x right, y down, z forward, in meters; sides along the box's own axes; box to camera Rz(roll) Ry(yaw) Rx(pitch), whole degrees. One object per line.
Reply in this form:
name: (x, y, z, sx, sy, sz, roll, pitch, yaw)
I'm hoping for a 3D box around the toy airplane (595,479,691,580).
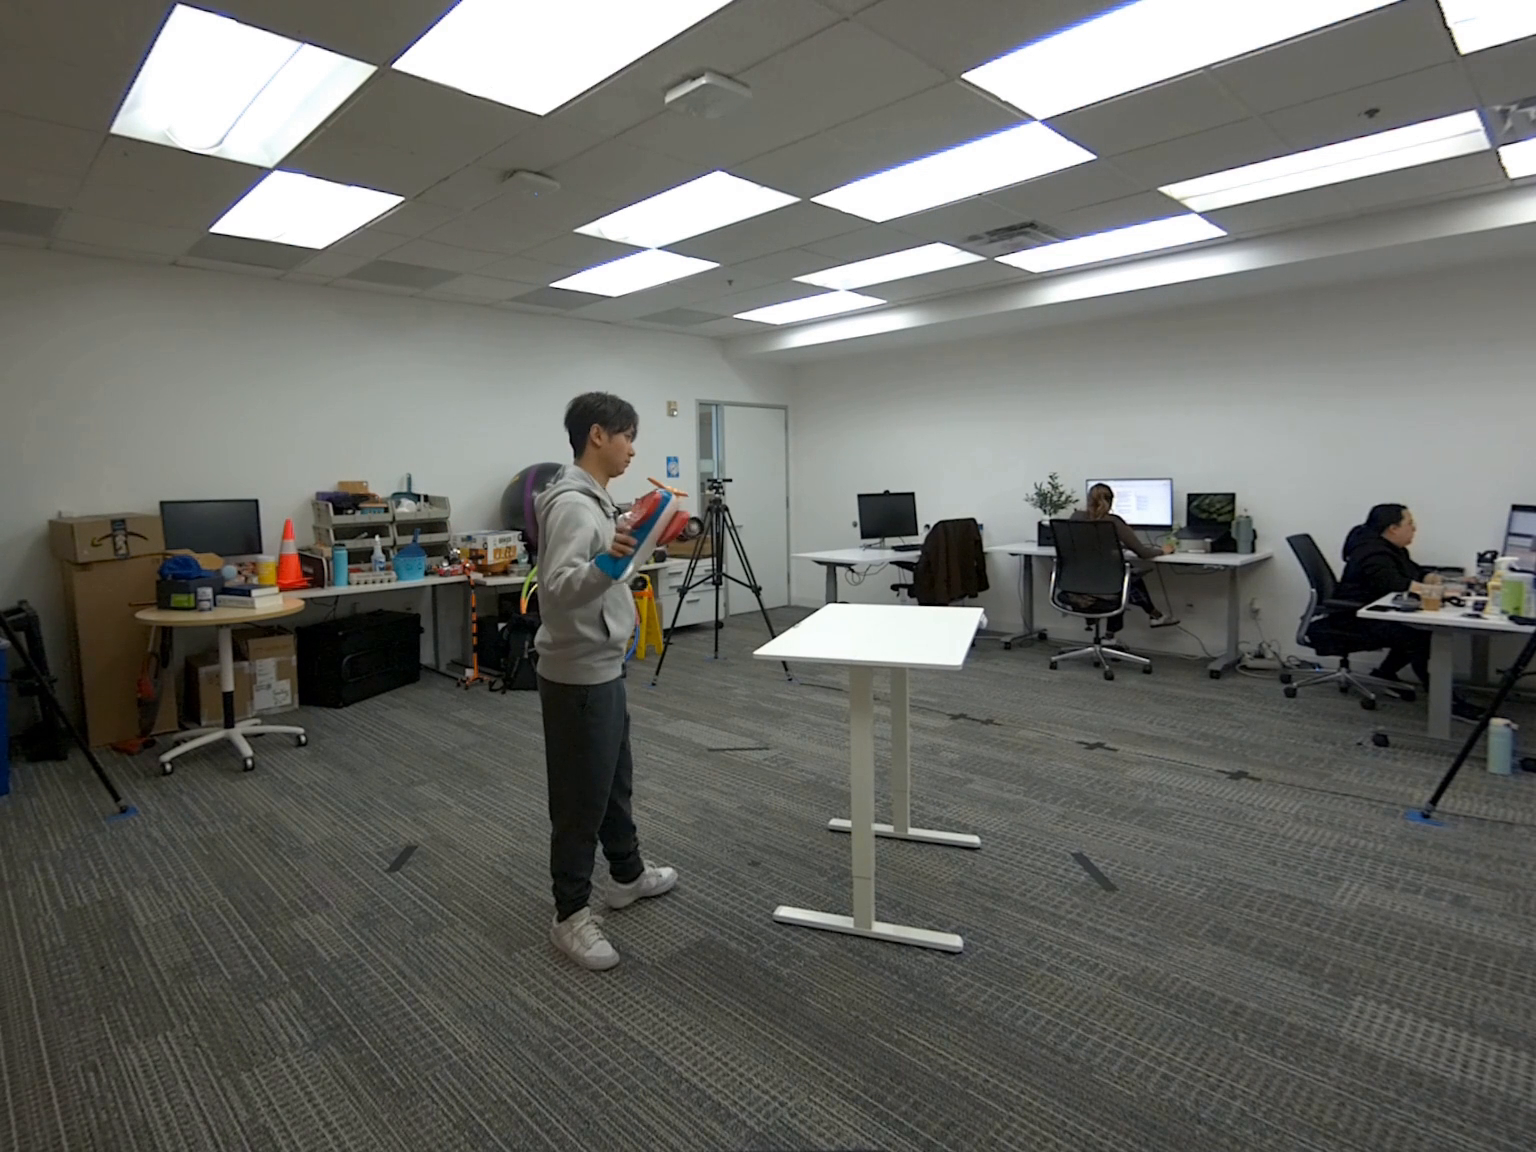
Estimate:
toy airplane: (-0.265, -0.092, 1.975, 0.254, 0.154, 0.260, -30, 17, 44)
